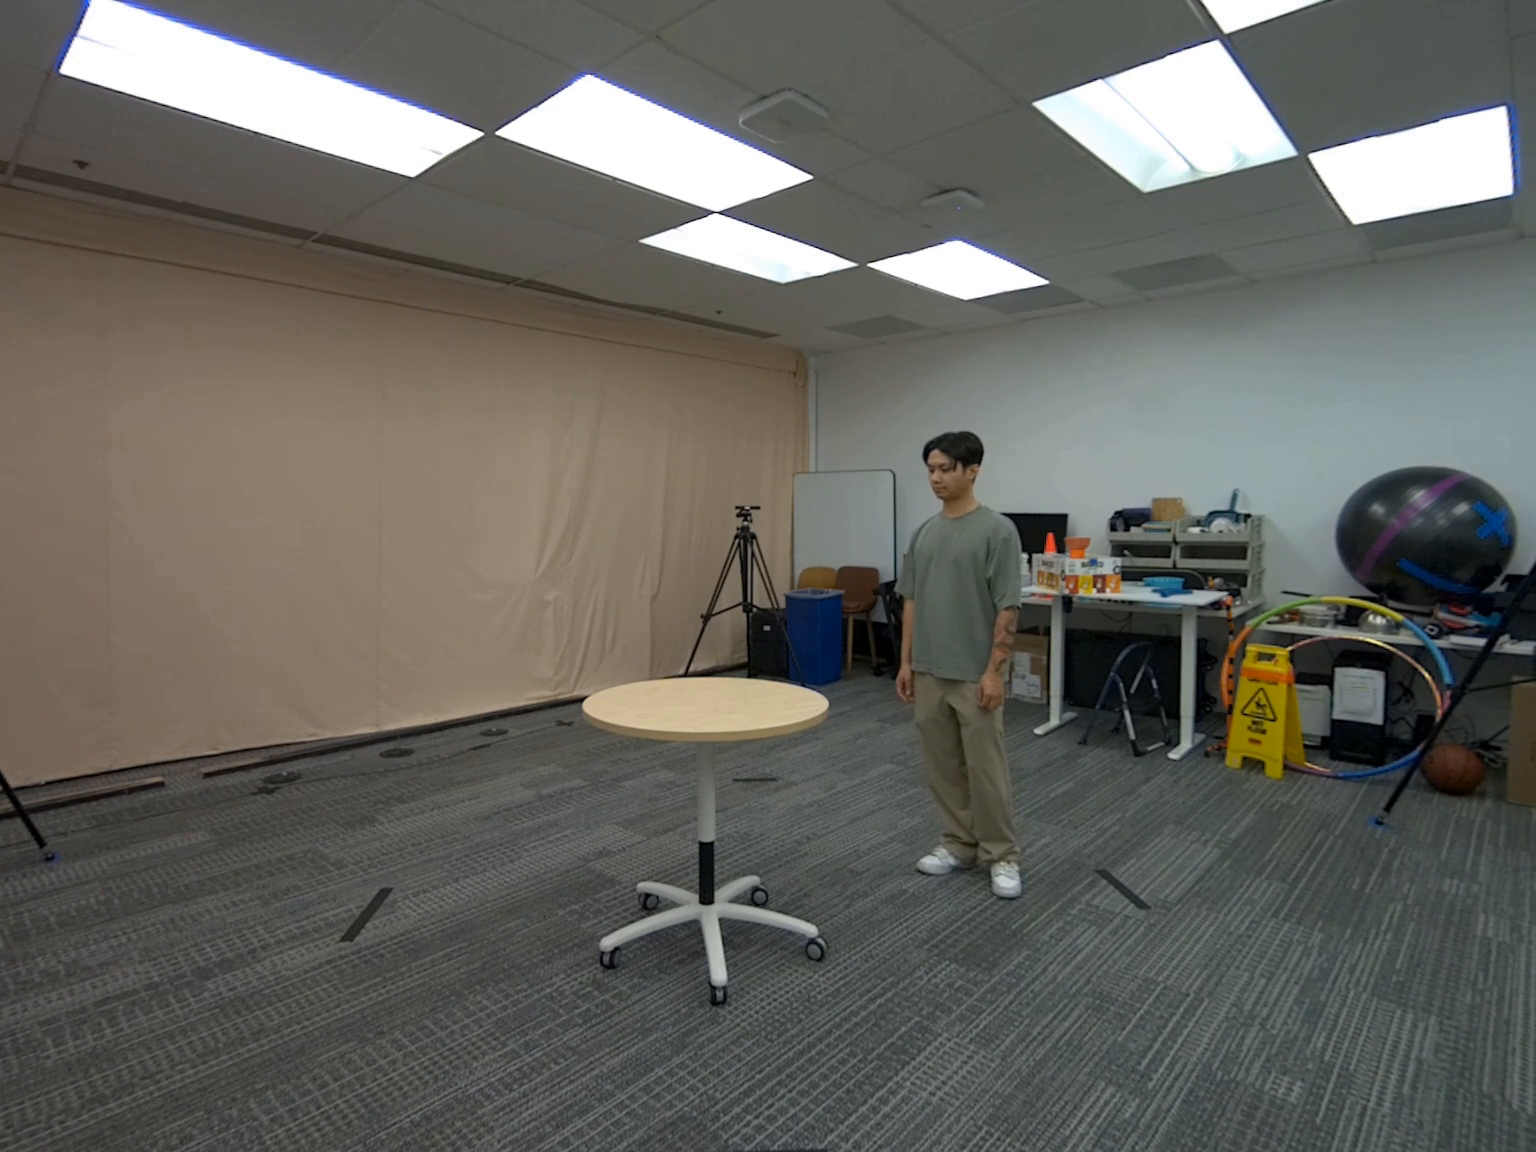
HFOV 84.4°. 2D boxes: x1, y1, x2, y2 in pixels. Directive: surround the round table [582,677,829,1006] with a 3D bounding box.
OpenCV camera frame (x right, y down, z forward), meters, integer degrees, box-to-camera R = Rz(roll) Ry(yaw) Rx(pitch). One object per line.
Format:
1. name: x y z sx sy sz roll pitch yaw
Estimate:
1. round table: -0.190 0.787 2.646 0.763 0.792 0.766 0 3 -2
